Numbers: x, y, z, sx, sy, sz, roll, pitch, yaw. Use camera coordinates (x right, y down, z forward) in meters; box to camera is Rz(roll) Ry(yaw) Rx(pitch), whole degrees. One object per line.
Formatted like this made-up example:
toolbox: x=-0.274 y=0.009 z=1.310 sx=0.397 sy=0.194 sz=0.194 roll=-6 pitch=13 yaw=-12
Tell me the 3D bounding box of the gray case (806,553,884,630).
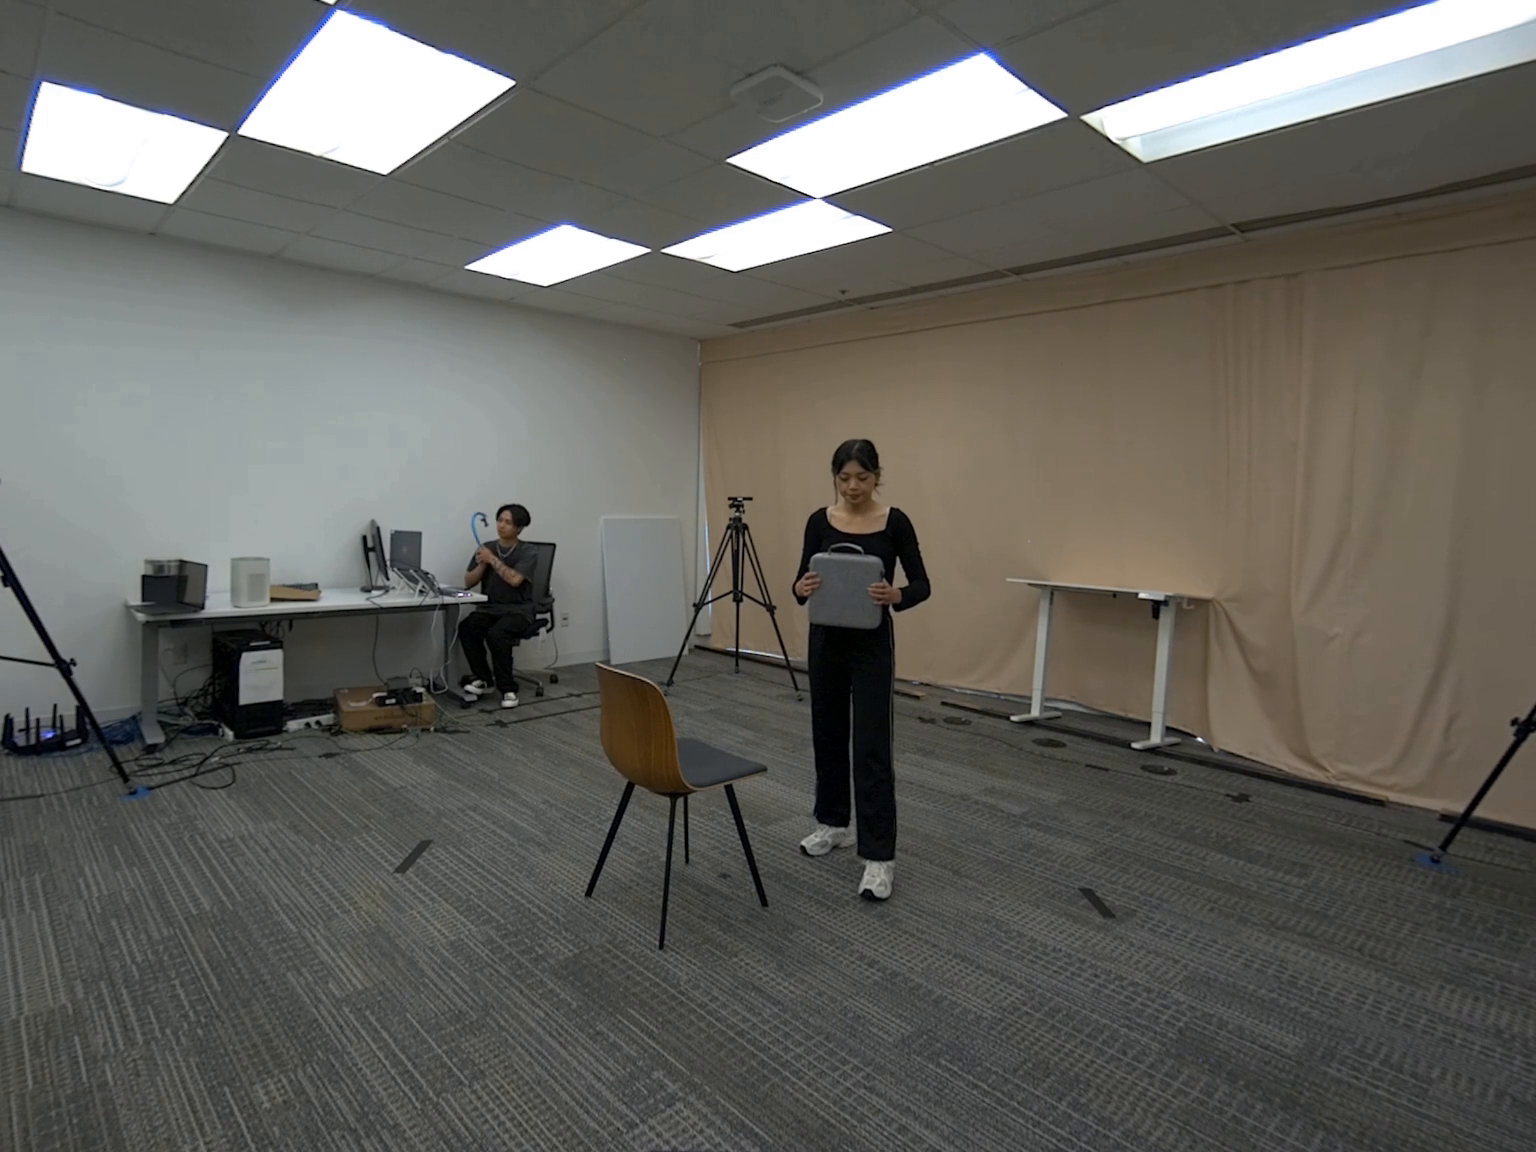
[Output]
gray case: x=0.271 y=0.049 z=2.954 sx=0.261 sy=0.259 sz=0.103 roll=4 pitch=10 yaw=19
